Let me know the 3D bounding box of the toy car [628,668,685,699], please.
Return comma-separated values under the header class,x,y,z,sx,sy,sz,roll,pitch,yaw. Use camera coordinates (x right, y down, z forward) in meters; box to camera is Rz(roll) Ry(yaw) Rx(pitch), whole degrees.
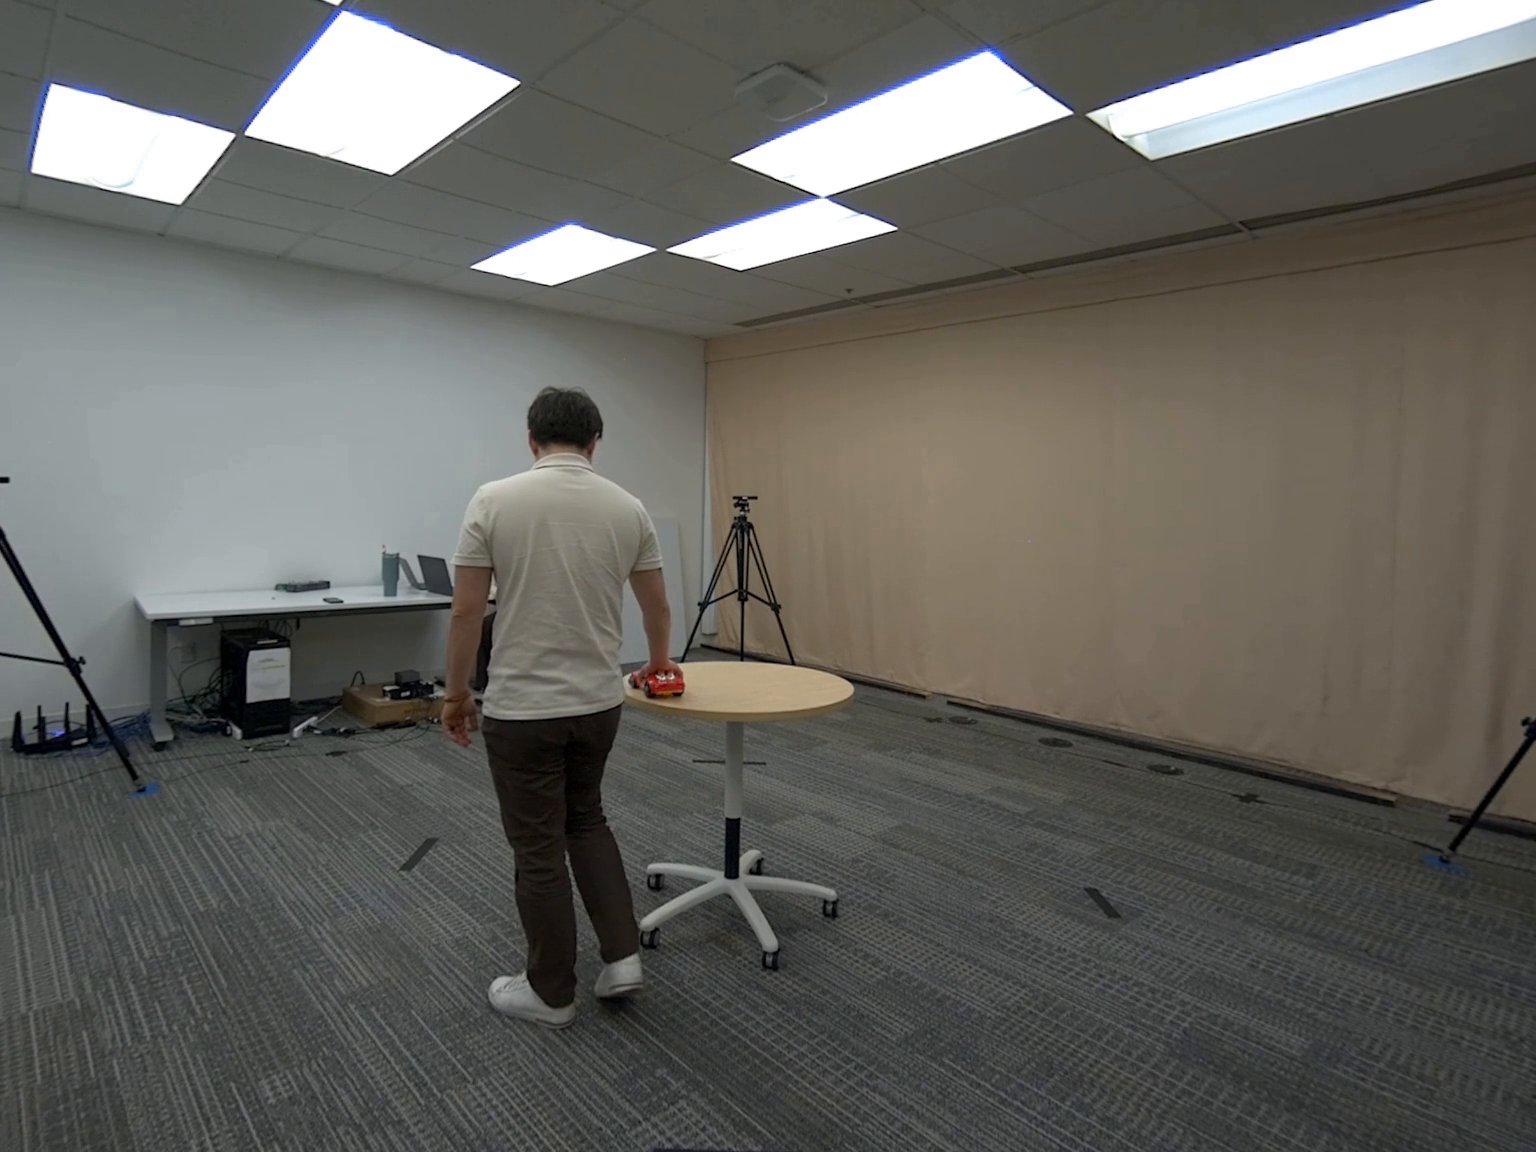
class,x,y,z,sx,sy,sz,roll,pitch,yaw
toy car,-0.342,0.334,2.573,0.128,0.083,0.258,-1,-5,-26
